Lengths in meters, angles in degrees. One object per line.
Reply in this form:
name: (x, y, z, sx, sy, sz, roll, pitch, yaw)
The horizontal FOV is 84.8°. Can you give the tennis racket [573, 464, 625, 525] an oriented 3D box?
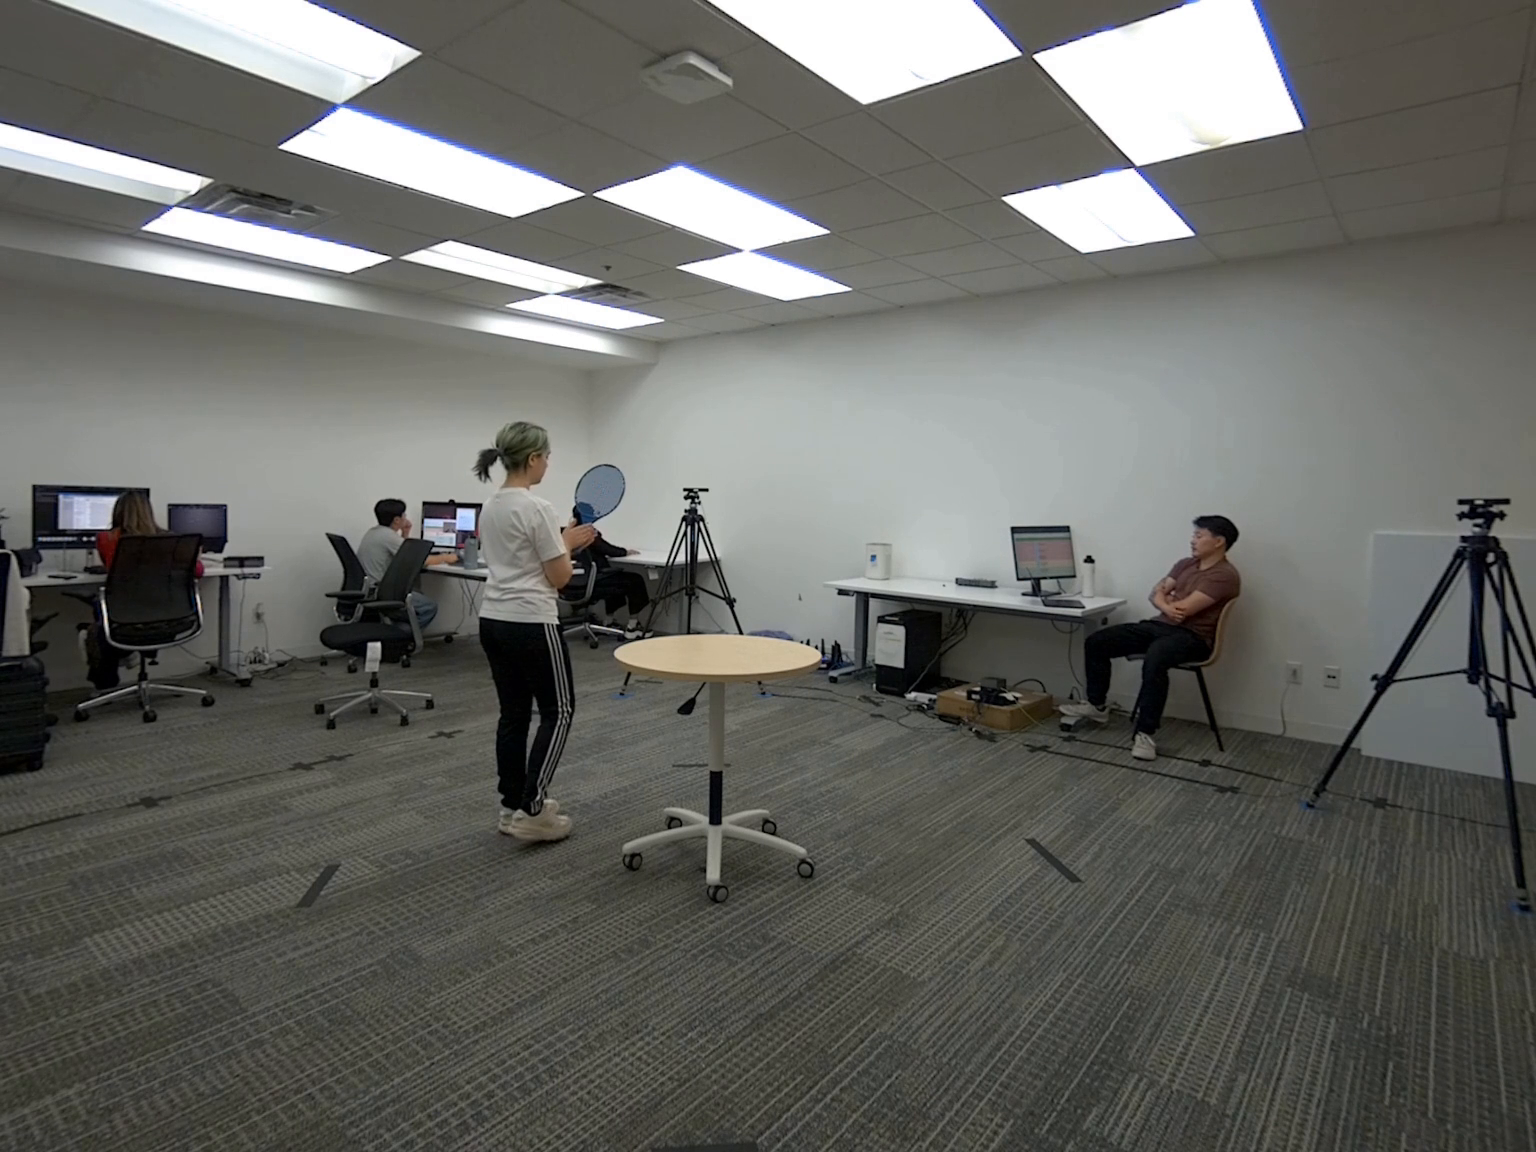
tennis racket: (-0.778, -0.297, 3.646, 0.218, 0.436, 0.031, 18, -18, 16)
